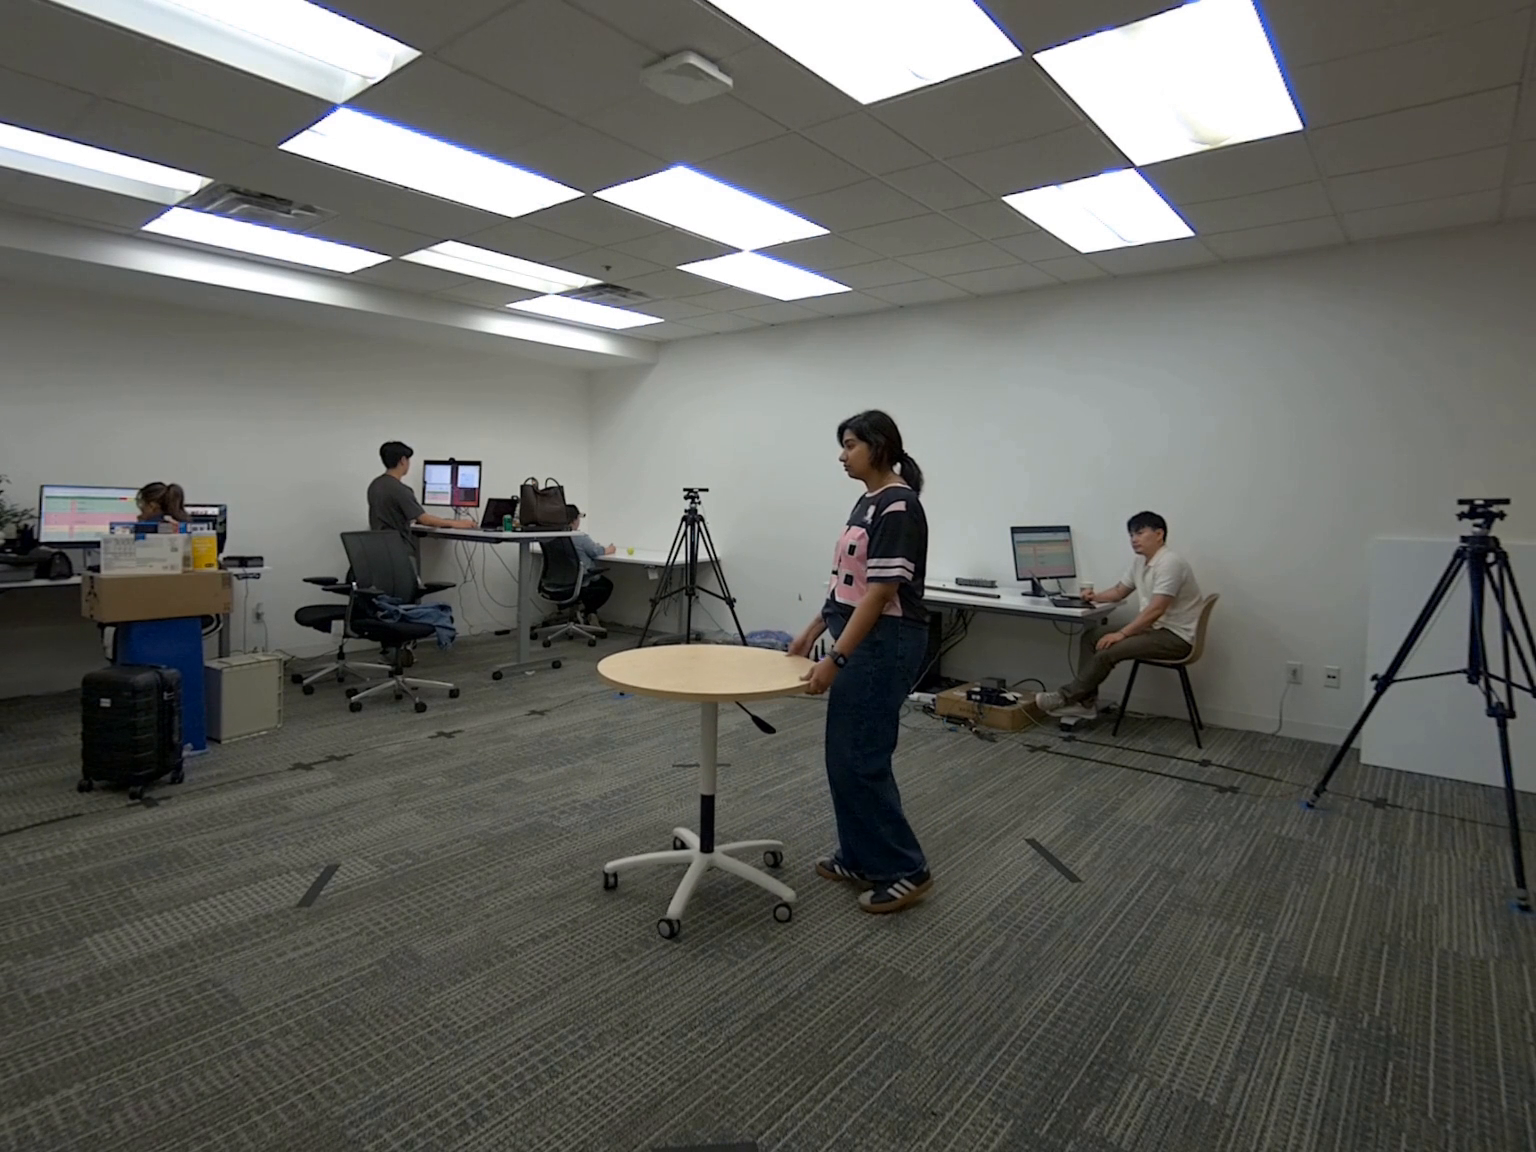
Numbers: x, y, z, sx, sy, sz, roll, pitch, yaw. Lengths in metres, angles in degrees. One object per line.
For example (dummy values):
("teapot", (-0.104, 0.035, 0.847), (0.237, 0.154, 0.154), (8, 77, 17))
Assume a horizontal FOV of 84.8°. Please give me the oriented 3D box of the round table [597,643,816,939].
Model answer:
("round table", (-0.218, 0.697, 2.934), (0.763, 0.791, 0.768), (1, 5, -2))
